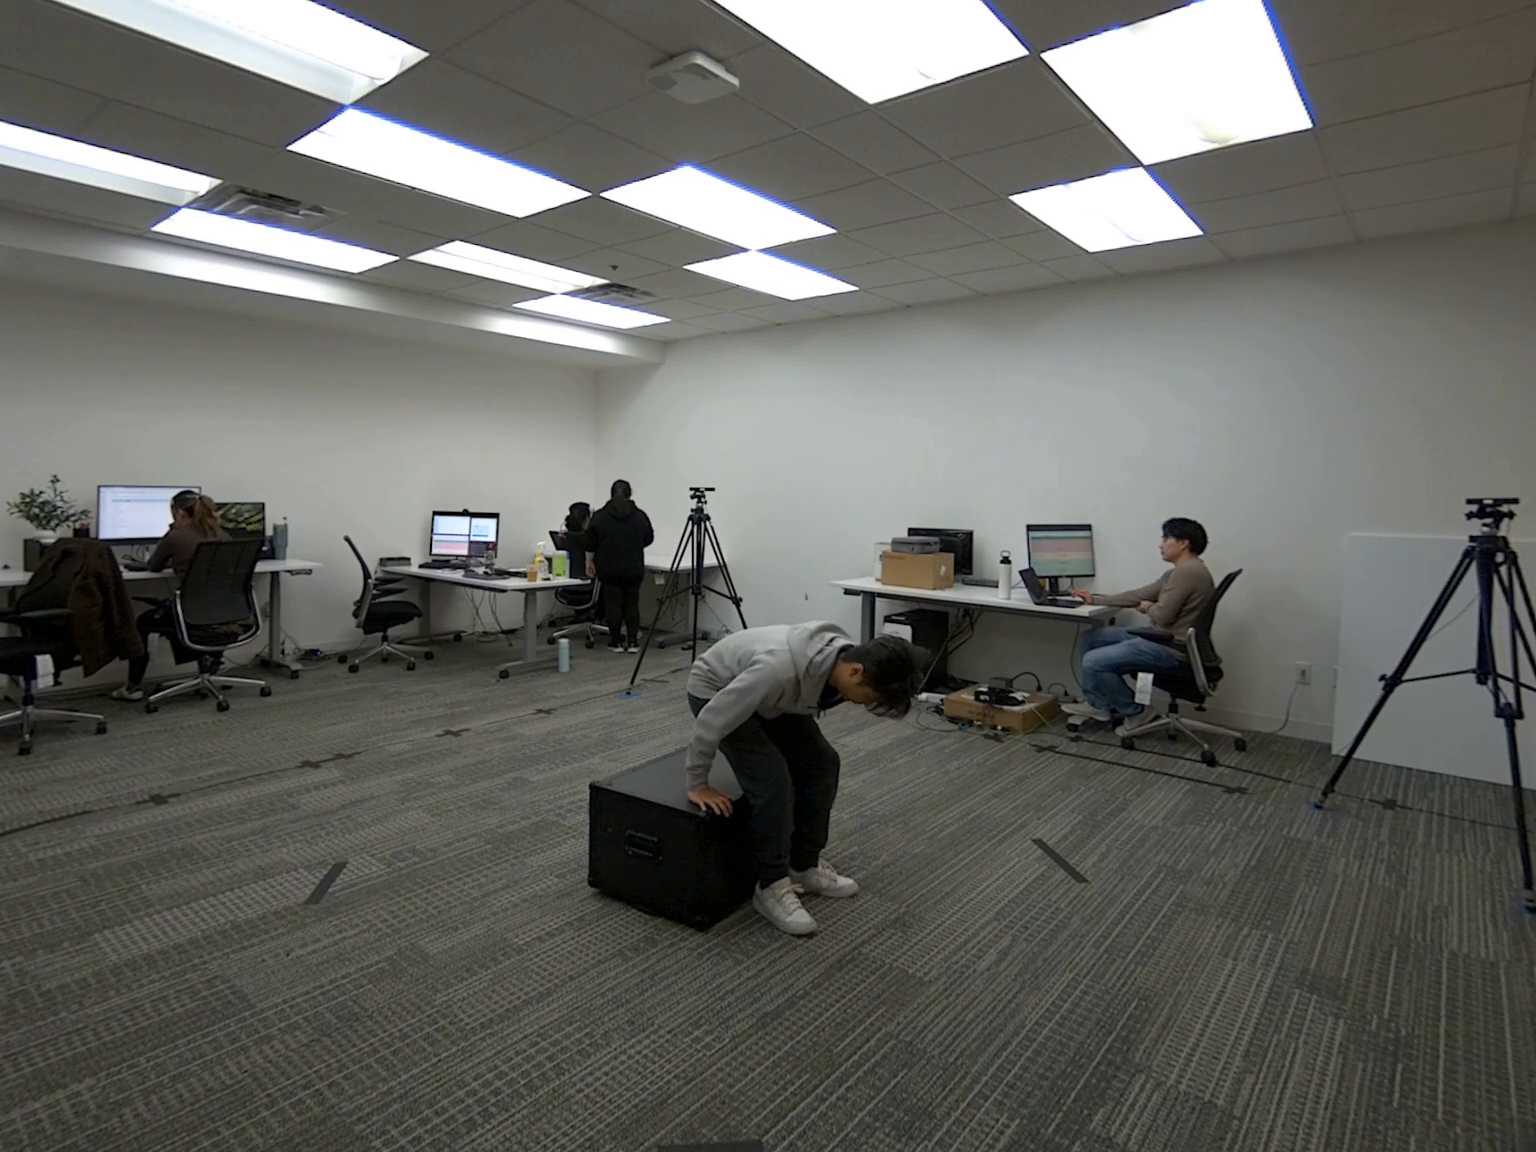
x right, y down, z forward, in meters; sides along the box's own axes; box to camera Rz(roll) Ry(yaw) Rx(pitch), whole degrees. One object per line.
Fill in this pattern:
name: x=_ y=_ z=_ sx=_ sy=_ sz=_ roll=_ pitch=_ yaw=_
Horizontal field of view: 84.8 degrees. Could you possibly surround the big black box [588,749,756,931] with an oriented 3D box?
big black box: x=-0.238 y=0.883 z=3.058 sx=0.537 sy=0.395 sz=0.838 roll=4 pitch=5 yaw=31
